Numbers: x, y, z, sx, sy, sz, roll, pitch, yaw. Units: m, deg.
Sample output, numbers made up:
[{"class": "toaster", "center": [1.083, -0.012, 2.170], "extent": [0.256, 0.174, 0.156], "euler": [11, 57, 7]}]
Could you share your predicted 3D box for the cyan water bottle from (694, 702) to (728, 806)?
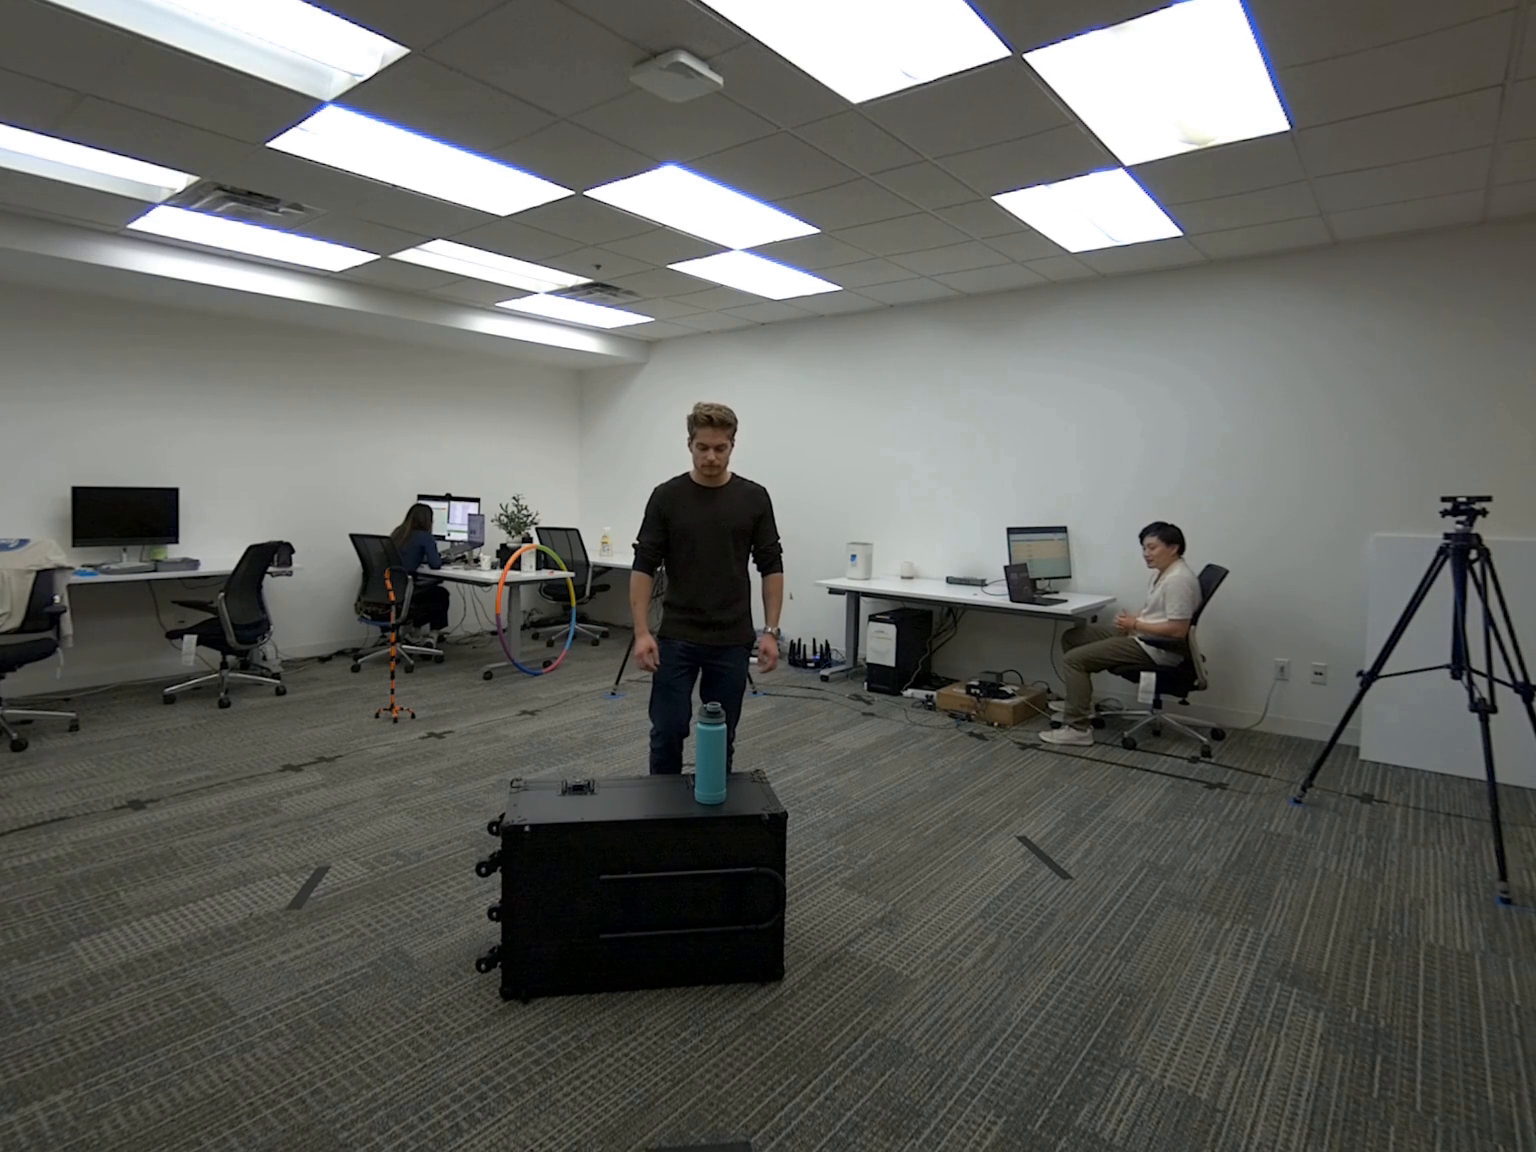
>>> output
[{"class": "cyan water bottle", "center": [-0.179, 0.507, 2.477], "extent": [0.092, 0.283, 0.092], "euler": [0, 1, -2]}]
